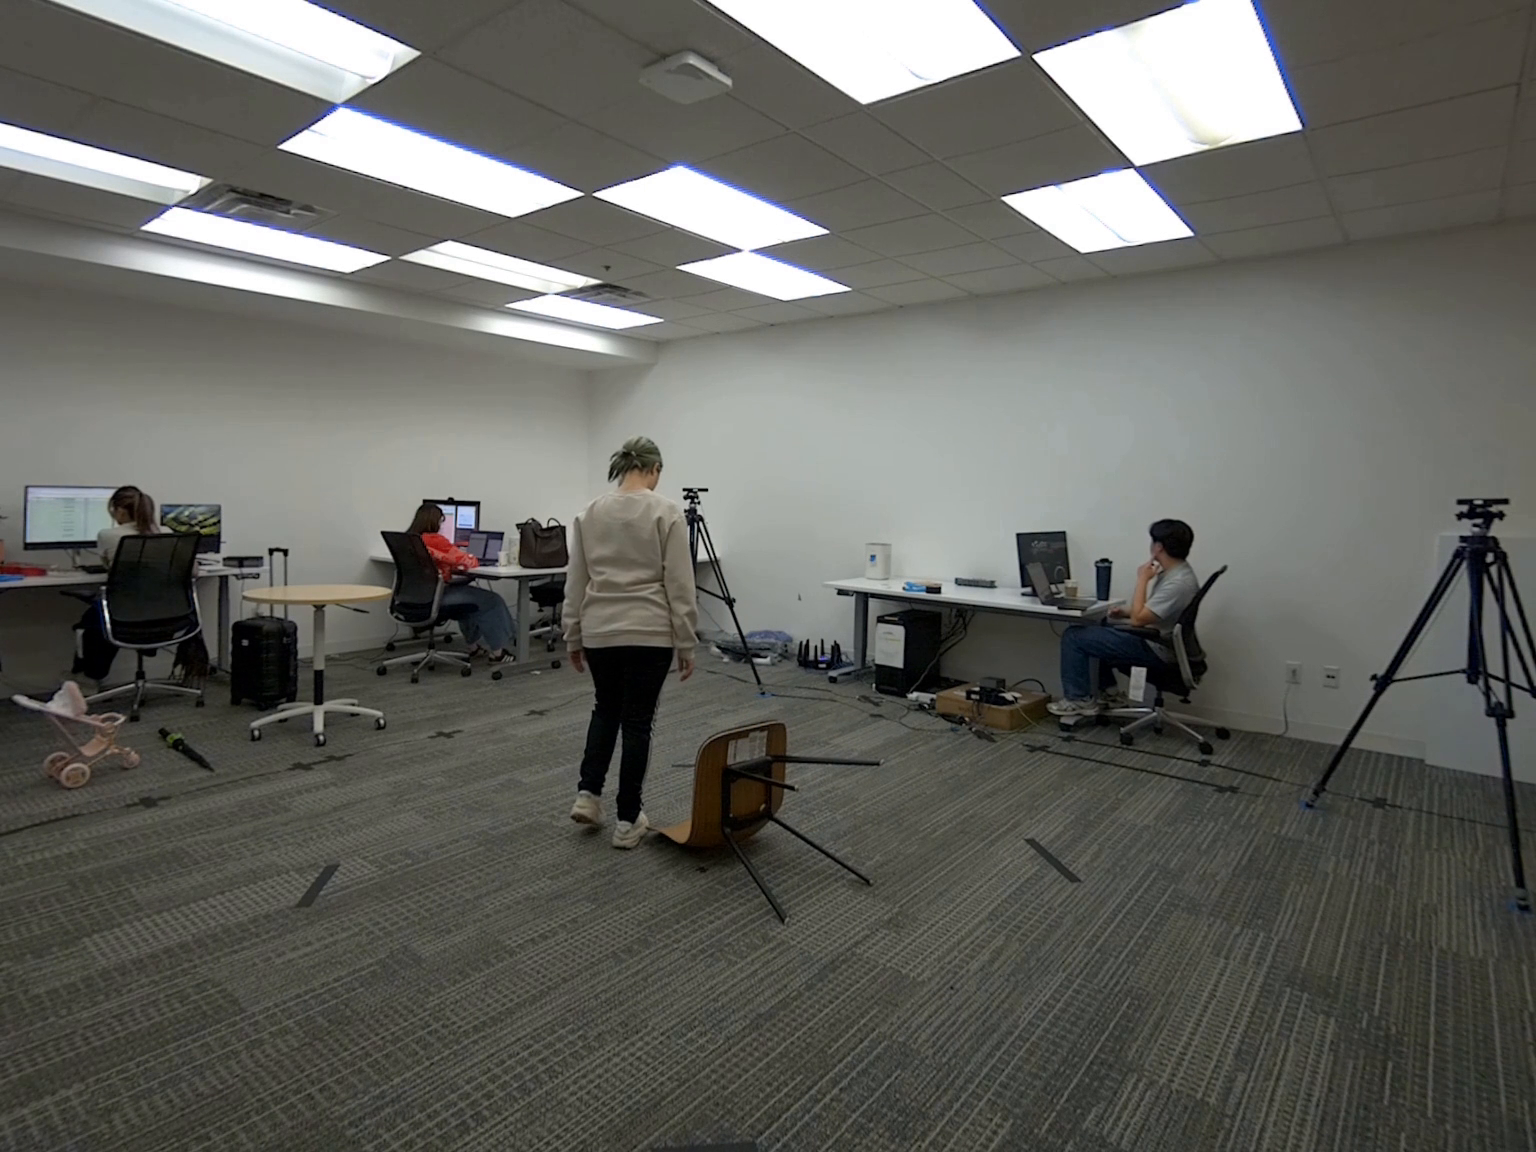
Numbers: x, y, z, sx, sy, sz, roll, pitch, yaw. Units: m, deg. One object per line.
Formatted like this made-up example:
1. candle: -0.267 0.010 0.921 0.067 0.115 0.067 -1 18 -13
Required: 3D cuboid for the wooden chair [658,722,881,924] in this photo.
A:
1. wooden chair: -0.079 0.809 3.162 0.463 0.522 0.907 -2 4 -43
